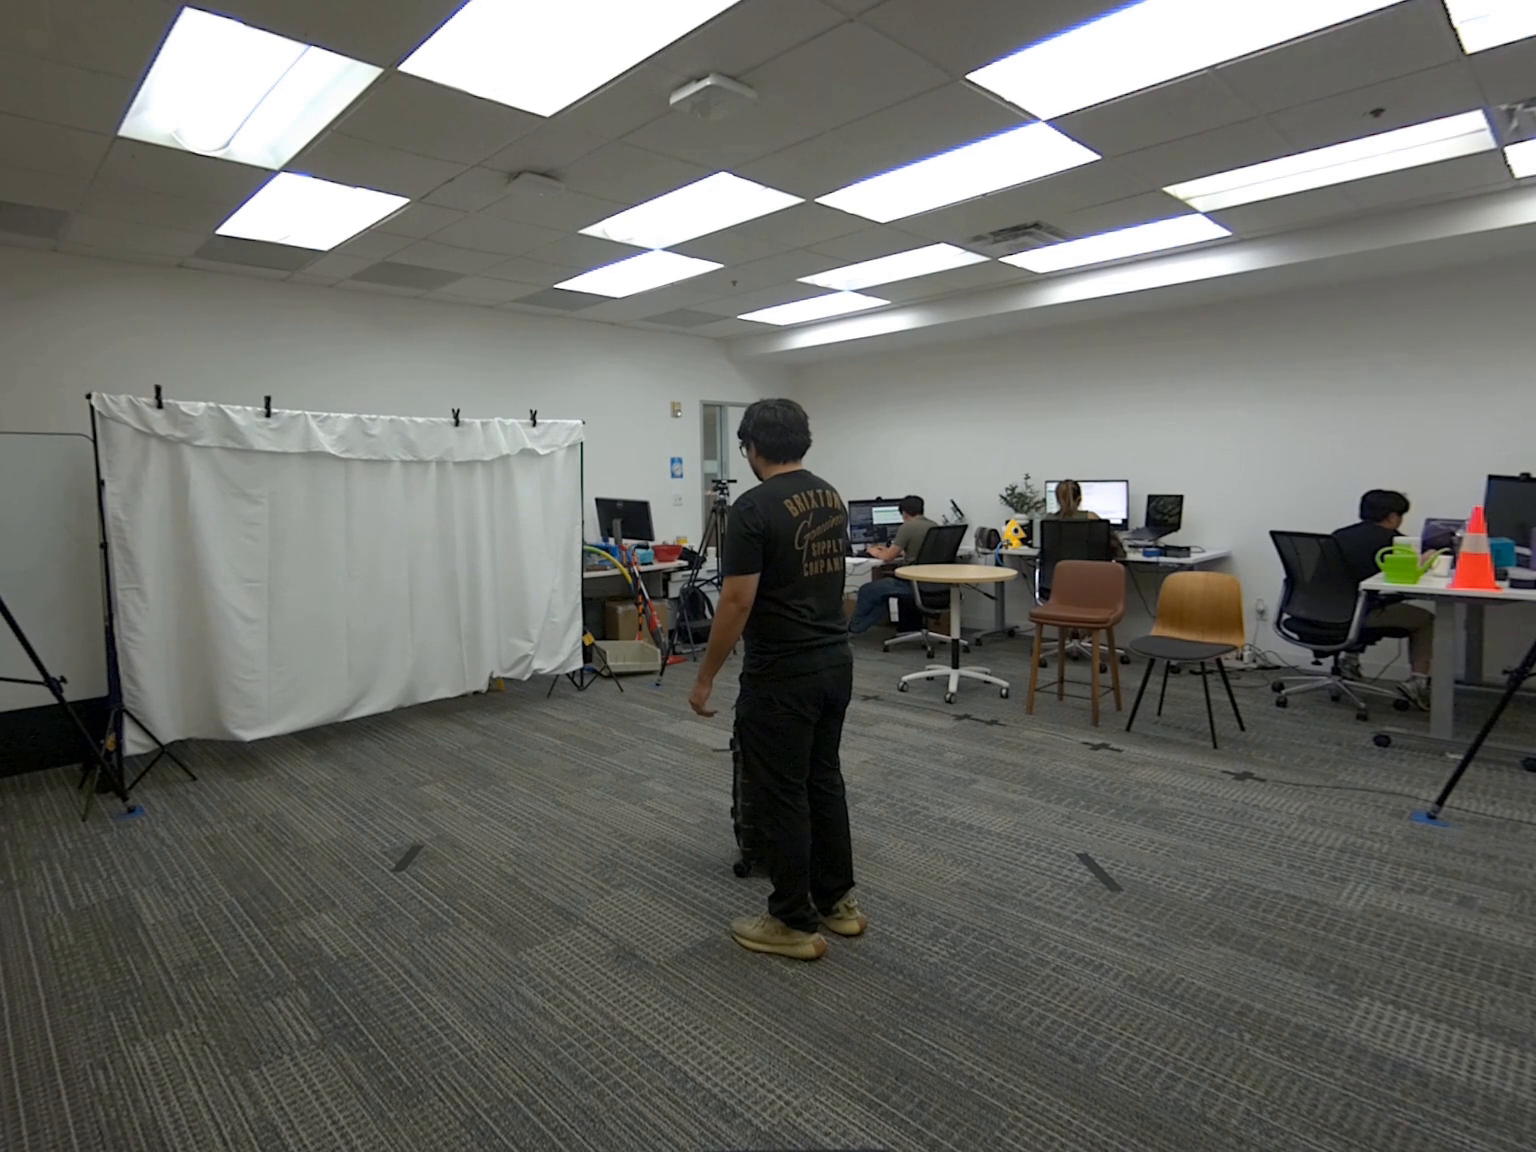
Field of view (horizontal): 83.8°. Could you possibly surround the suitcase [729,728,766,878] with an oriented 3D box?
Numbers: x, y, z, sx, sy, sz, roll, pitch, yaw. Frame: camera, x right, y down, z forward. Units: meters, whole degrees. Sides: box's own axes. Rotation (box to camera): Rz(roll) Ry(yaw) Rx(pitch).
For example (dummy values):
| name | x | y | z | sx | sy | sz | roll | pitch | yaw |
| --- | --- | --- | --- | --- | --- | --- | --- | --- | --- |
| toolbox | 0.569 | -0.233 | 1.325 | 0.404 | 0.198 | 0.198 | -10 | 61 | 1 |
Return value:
| name | x | y | z | sx | sy | sz | roll | pitch | yaw |
| --- | --- | --- | --- | --- | --- | --- | --- | --- | --- |
| suitcase | 0.059 | 0.574 | 3.099 | 0.383 | 0.976 | 0.258 | -2 | 3 | -3 |
